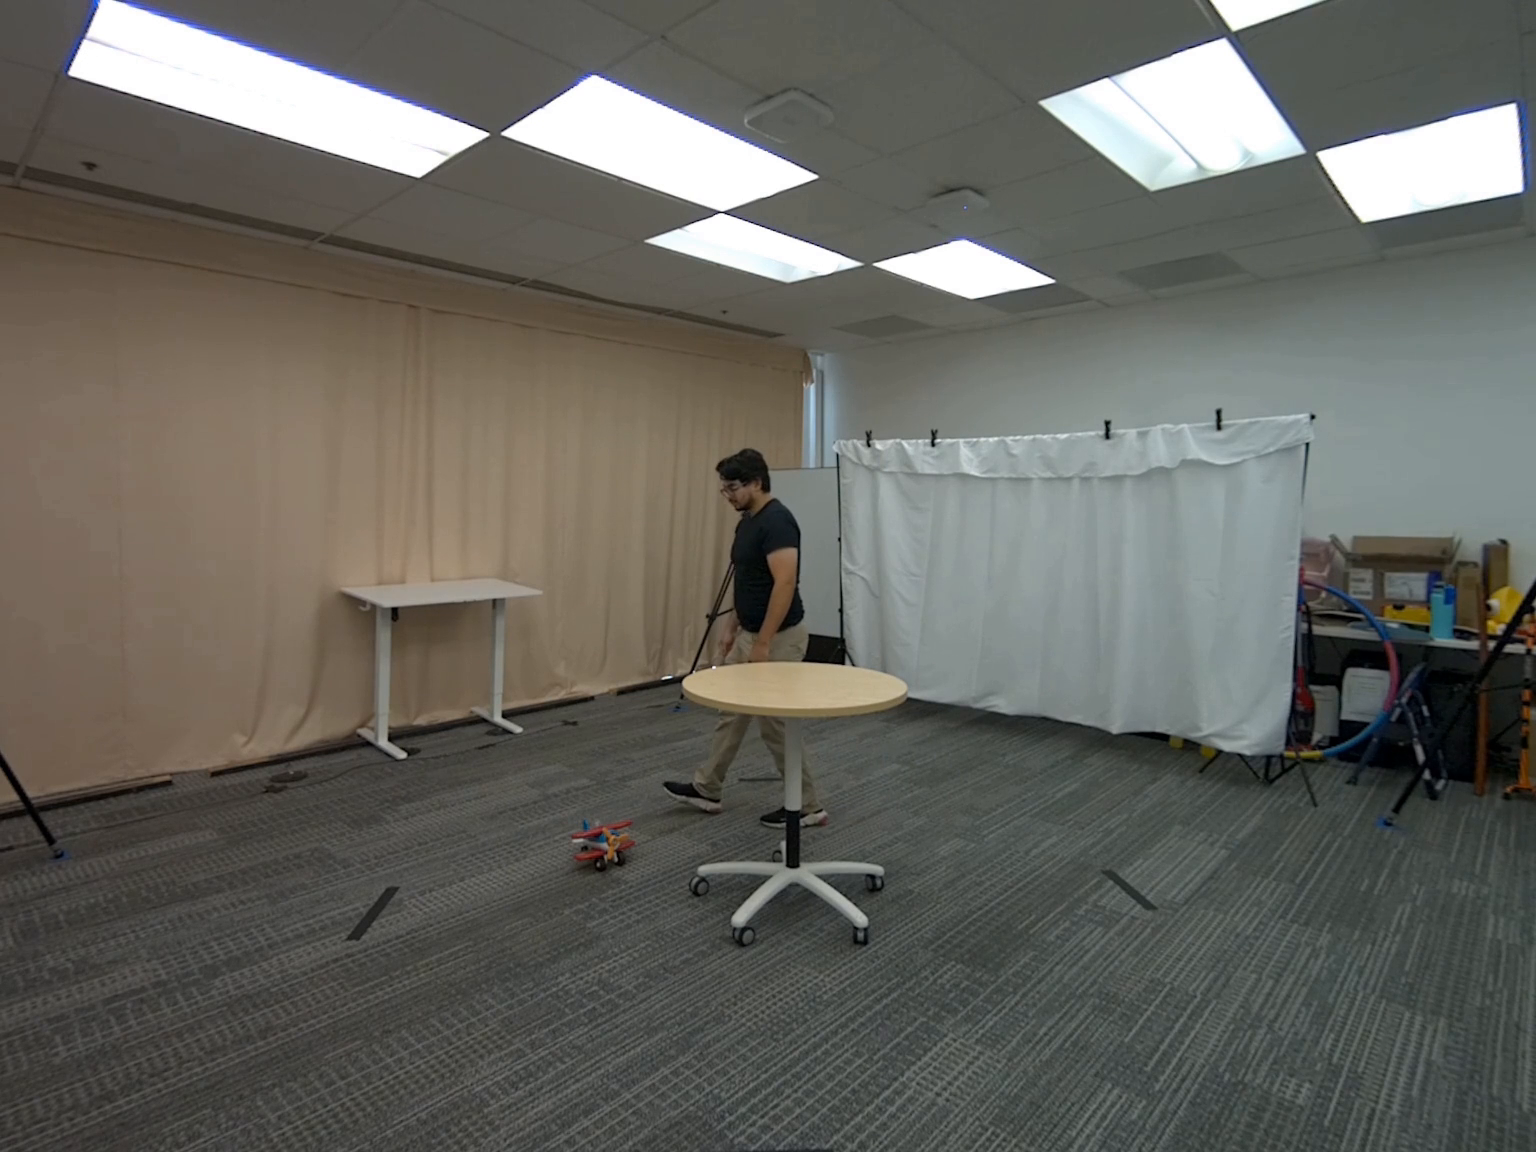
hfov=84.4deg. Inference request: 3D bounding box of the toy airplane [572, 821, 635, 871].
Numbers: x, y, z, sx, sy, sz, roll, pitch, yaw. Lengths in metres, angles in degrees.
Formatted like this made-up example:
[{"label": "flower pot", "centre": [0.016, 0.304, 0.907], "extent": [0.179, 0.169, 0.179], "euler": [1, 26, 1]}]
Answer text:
[{"label": "toy airplane", "centre": [-0.679, 1.047, 3.300], "extent": [0.266, 0.156, 0.246], "euler": [3, 7, 24]}]
